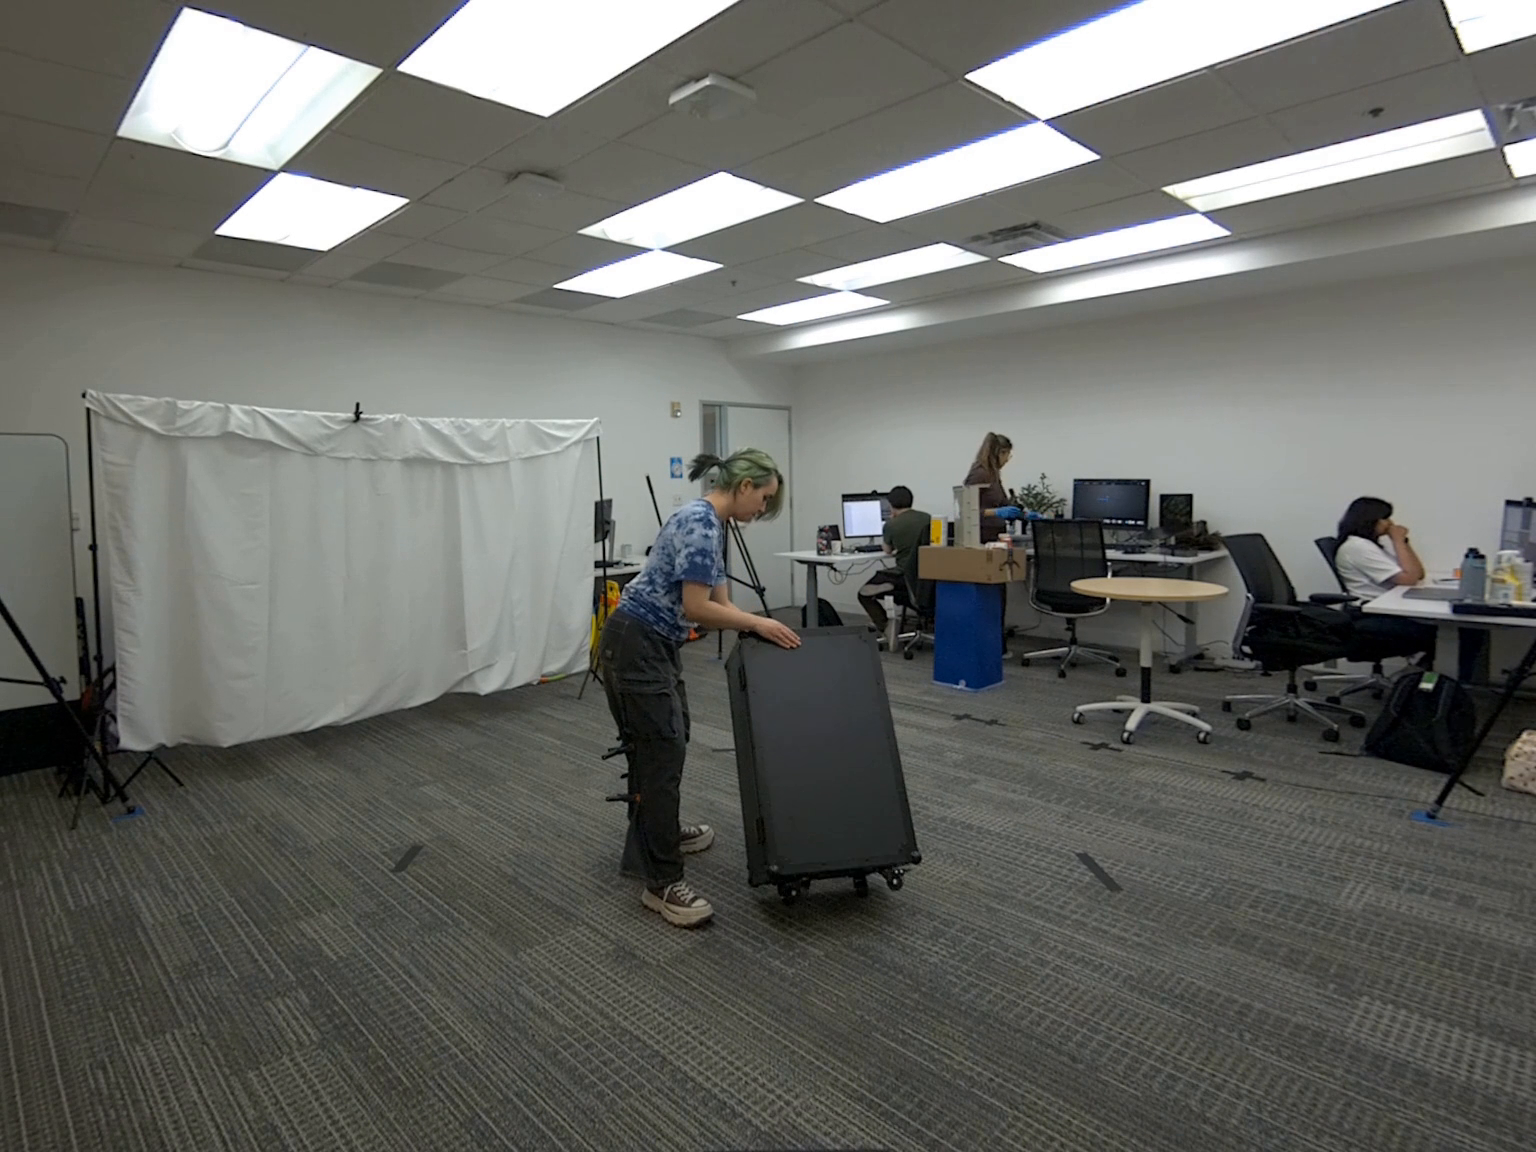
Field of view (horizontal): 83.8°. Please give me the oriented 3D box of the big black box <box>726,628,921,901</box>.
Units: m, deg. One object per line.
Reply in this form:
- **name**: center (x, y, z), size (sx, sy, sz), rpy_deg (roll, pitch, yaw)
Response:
- **big black box**: center (0.154, 0.643, 2.909), size (0.516, 0.883, 0.390), rpy_deg (-4, -27, -11)
